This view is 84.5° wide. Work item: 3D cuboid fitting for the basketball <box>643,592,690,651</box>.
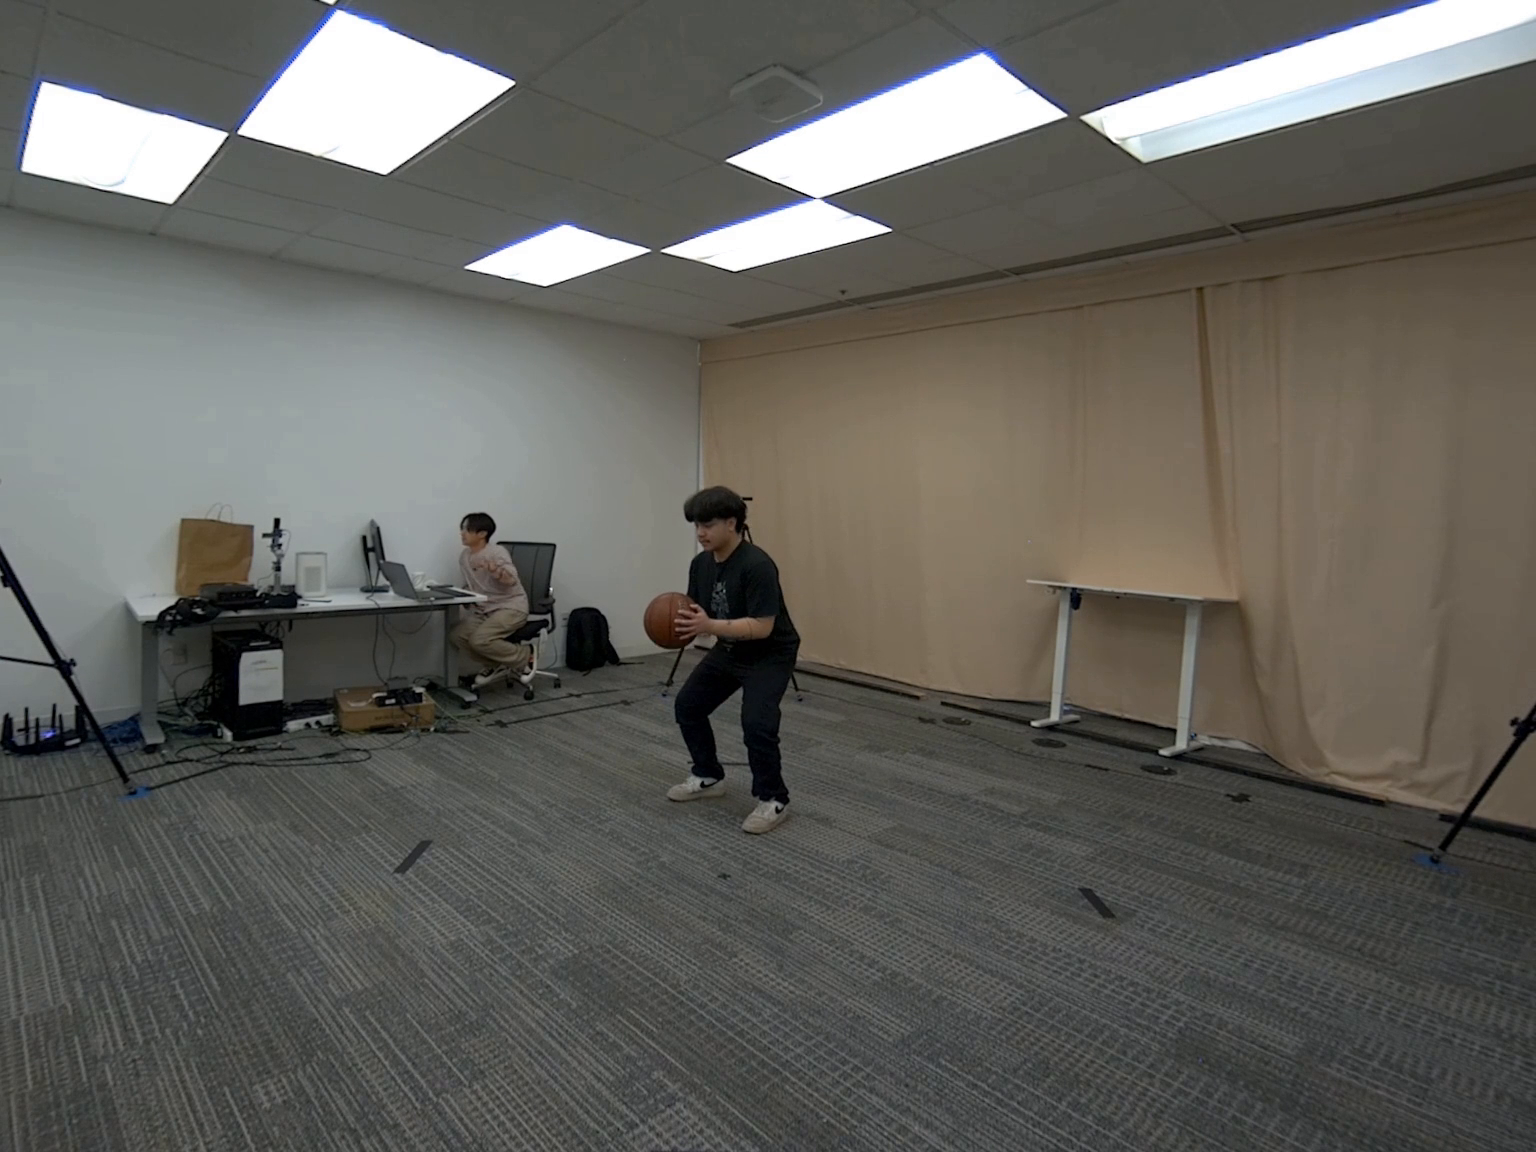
[{"bbox_3d":[-0.413,0.182,3.496,0.236,0.235,0.237,1,4,-1],"label":"basketball"}]
